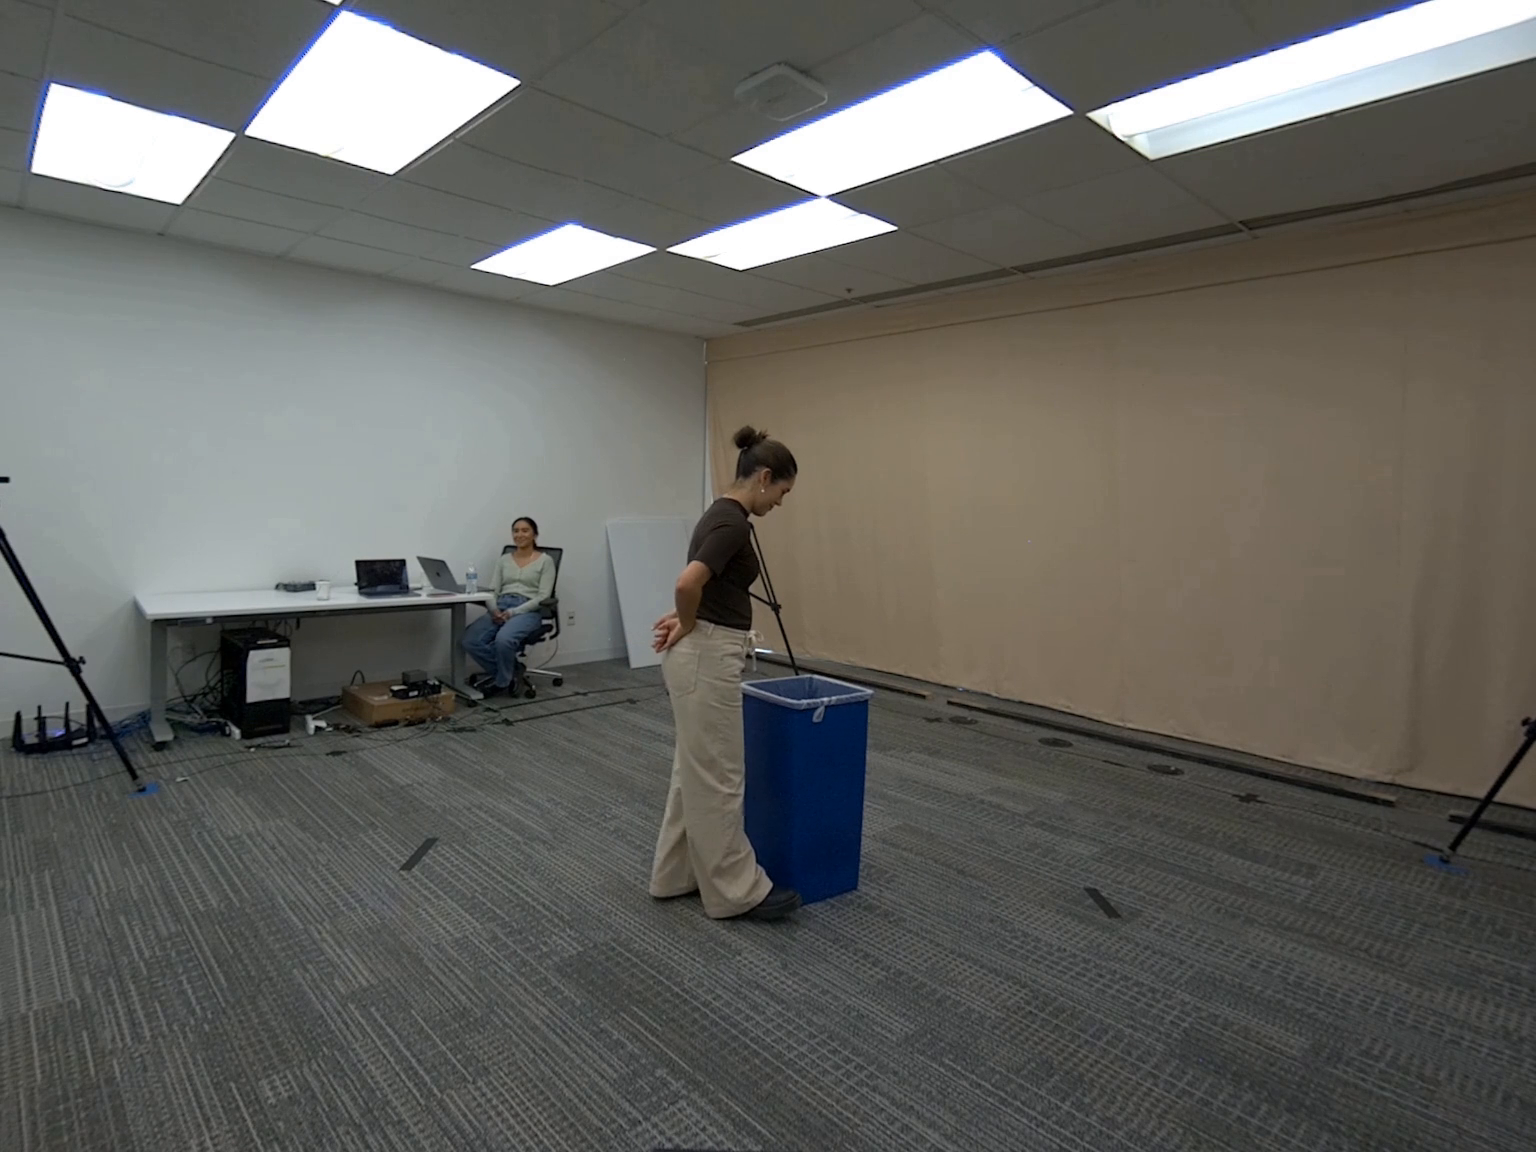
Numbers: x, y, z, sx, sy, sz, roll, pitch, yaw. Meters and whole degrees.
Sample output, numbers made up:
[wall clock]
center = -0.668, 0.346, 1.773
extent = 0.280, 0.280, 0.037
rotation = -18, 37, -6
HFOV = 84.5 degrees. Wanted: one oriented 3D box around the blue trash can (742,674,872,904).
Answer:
[blue trash can]
center = 0.124, 0.755, 3.049
extent = 0.366, 0.712, 0.387
rotation = -1, 3, -36
